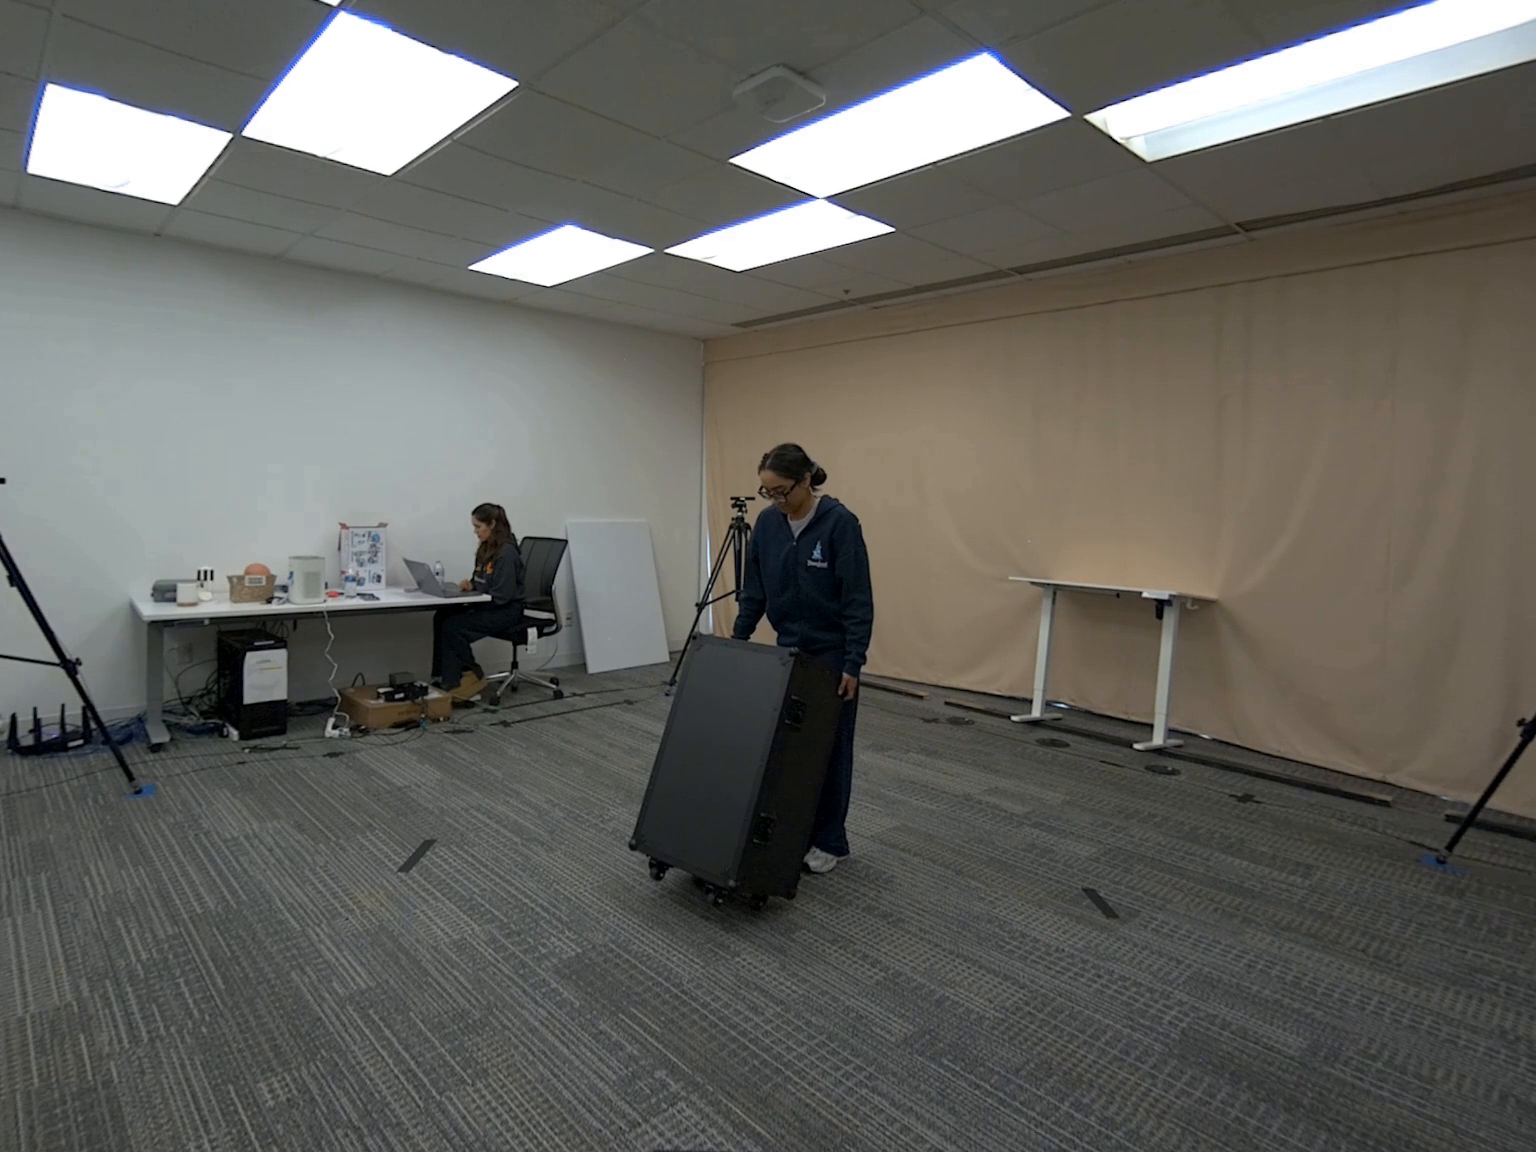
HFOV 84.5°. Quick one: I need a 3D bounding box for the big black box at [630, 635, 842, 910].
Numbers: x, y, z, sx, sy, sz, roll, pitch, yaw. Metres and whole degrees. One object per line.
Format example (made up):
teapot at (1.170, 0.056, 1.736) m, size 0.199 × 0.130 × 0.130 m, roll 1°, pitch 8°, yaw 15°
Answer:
big black box at (-0.105, 0.690, 2.970) m, size 0.534 × 0.868 × 0.384 m, roll 4°, pitch -19°, yaw 39°
